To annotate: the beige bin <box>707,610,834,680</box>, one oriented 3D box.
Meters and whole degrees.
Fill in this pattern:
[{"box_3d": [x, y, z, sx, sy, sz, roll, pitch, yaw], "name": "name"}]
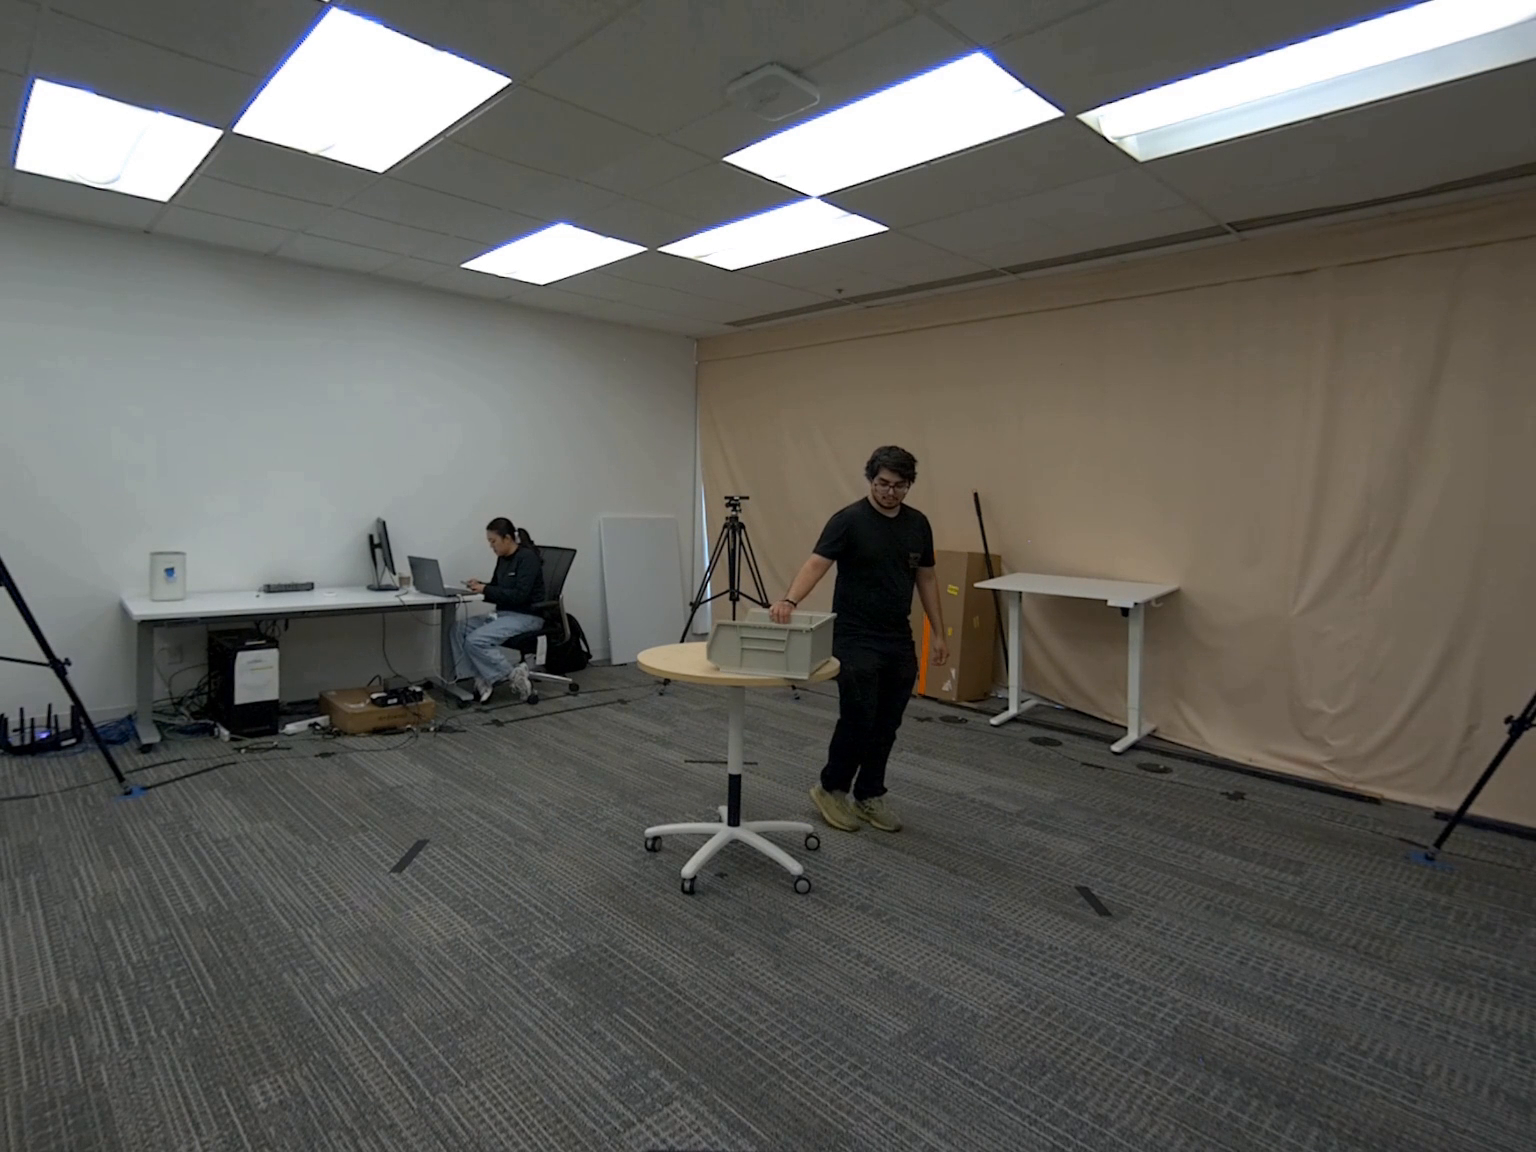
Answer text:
[{"box_3d": [0.019, 0.234, 3.060, 0.383, 0.188, 0.417, 5, 5, 16], "name": "beige bin"}]
